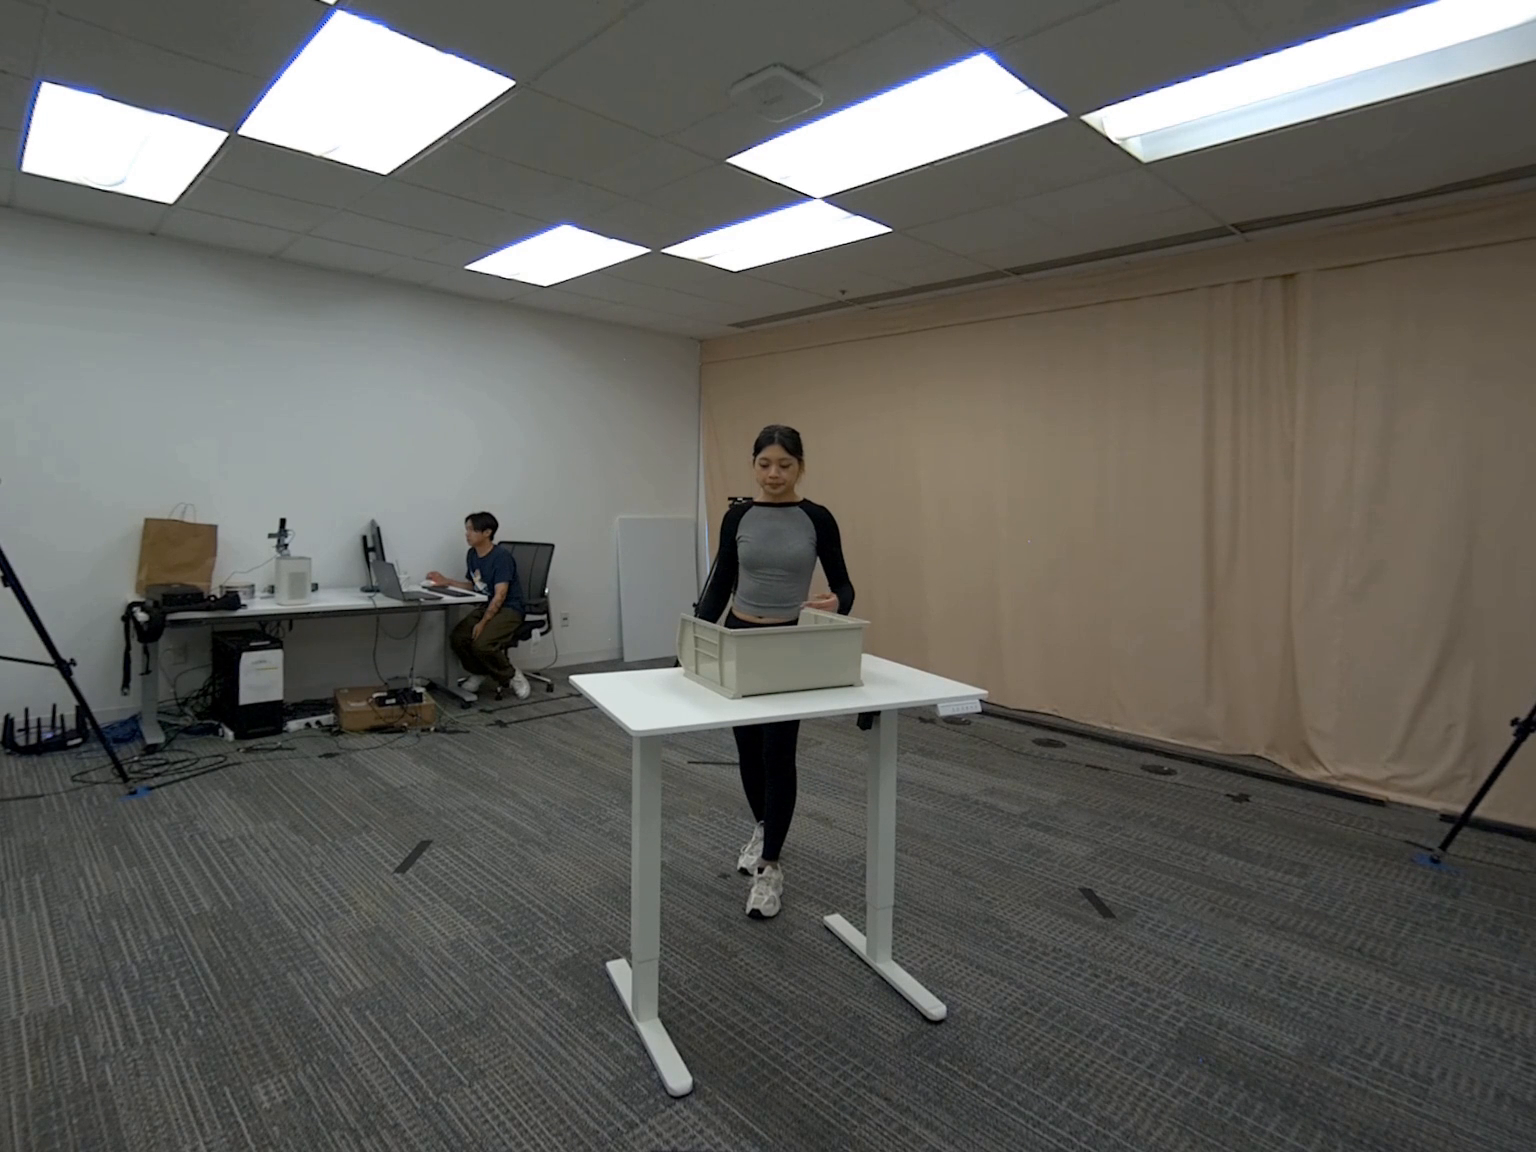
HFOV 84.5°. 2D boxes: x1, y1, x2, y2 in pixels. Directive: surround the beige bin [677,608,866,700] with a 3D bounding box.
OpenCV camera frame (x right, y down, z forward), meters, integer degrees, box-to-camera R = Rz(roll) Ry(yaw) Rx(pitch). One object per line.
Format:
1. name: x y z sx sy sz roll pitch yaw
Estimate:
1. beige bin: -0.006 0.208 2.372 0.414 0.188 0.386 0 6 -27
